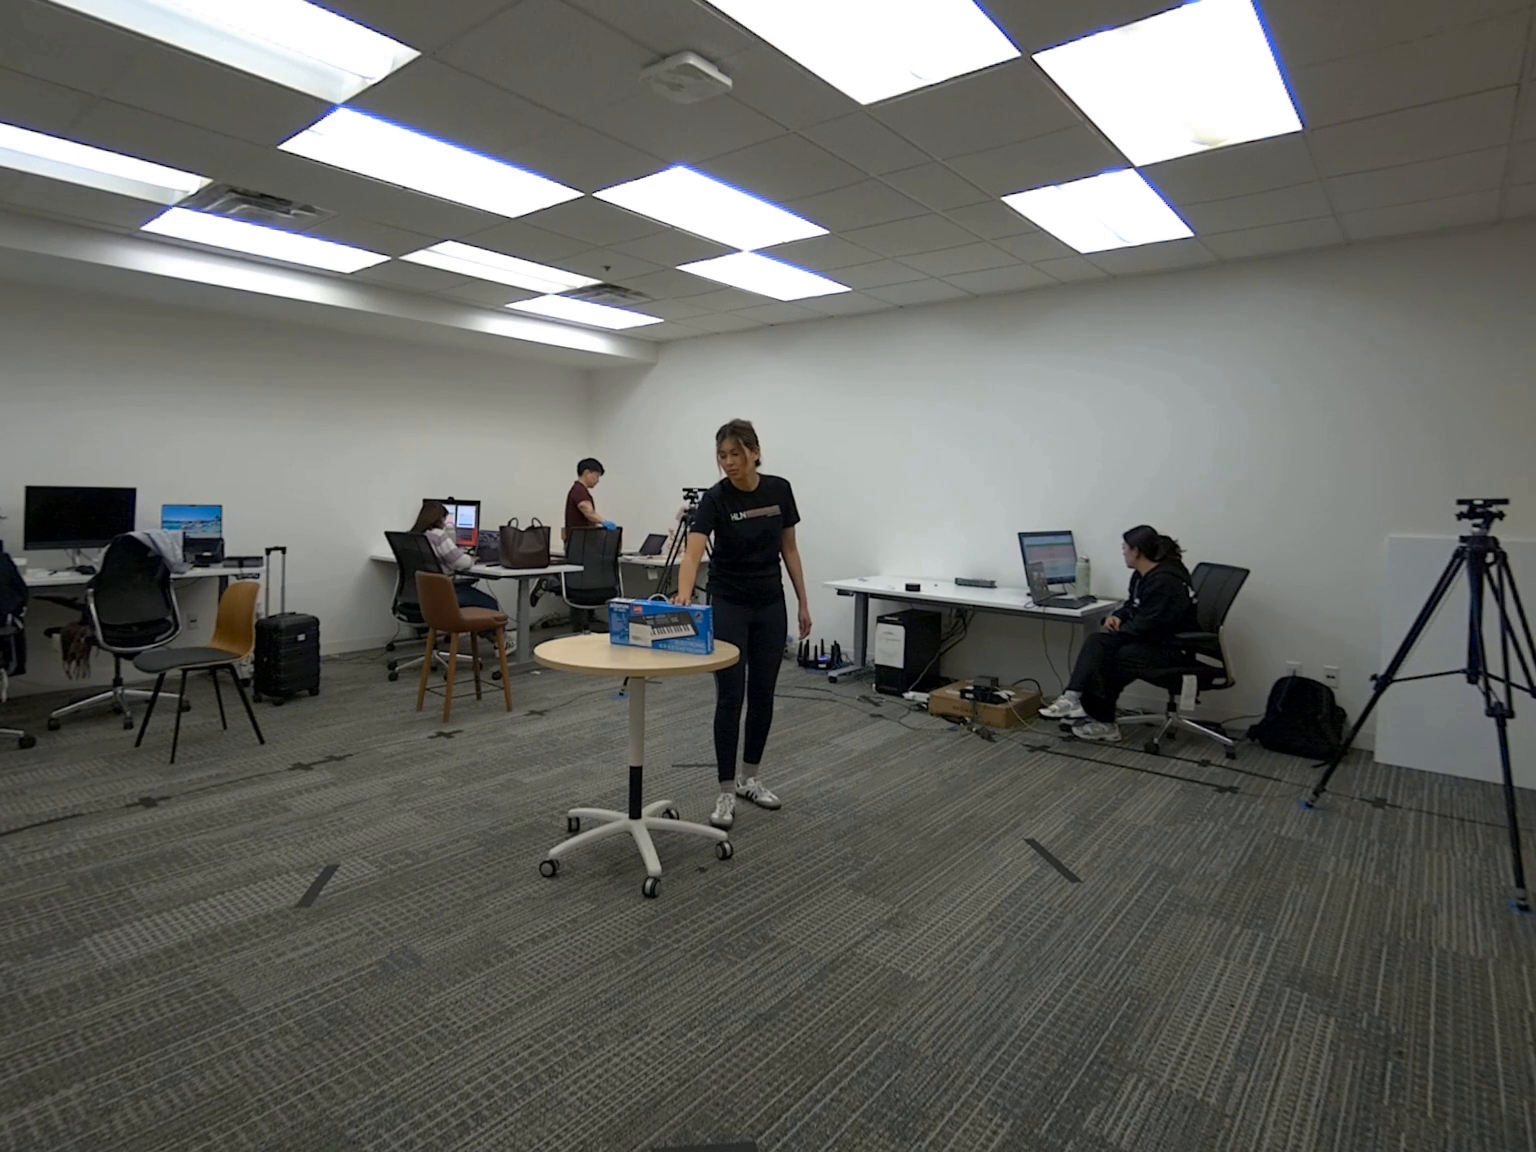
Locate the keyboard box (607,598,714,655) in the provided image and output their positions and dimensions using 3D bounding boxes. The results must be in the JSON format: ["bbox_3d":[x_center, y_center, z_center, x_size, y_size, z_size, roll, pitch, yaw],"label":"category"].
[{"bbox_3d":[-0.420,0.187,3.208,0.449,0.174,0.058,4,10,29],"label":"keyboard box"}]
